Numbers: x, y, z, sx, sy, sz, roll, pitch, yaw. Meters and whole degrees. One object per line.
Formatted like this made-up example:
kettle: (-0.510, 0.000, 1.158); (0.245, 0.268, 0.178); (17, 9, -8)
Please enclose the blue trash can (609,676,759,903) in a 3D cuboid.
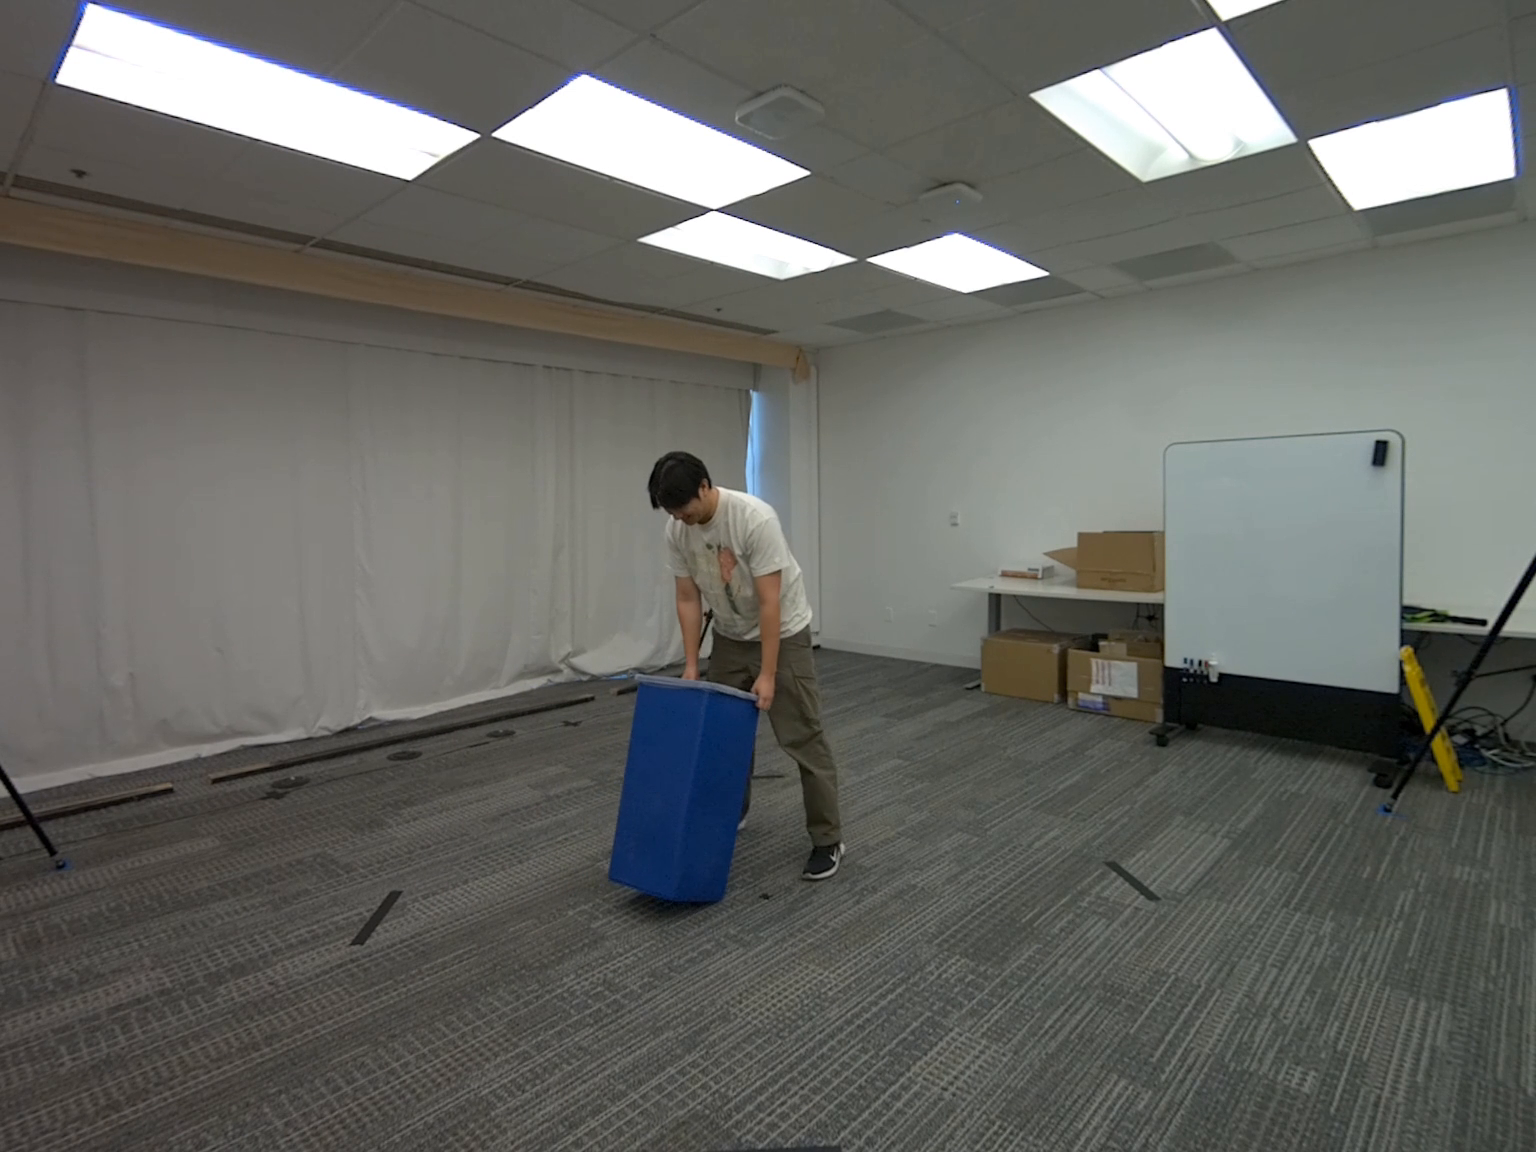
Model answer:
blue trash can: (-0.296, 0.748, 3.014); (0.390, 0.718, 0.360); (-1, -17, 37)
